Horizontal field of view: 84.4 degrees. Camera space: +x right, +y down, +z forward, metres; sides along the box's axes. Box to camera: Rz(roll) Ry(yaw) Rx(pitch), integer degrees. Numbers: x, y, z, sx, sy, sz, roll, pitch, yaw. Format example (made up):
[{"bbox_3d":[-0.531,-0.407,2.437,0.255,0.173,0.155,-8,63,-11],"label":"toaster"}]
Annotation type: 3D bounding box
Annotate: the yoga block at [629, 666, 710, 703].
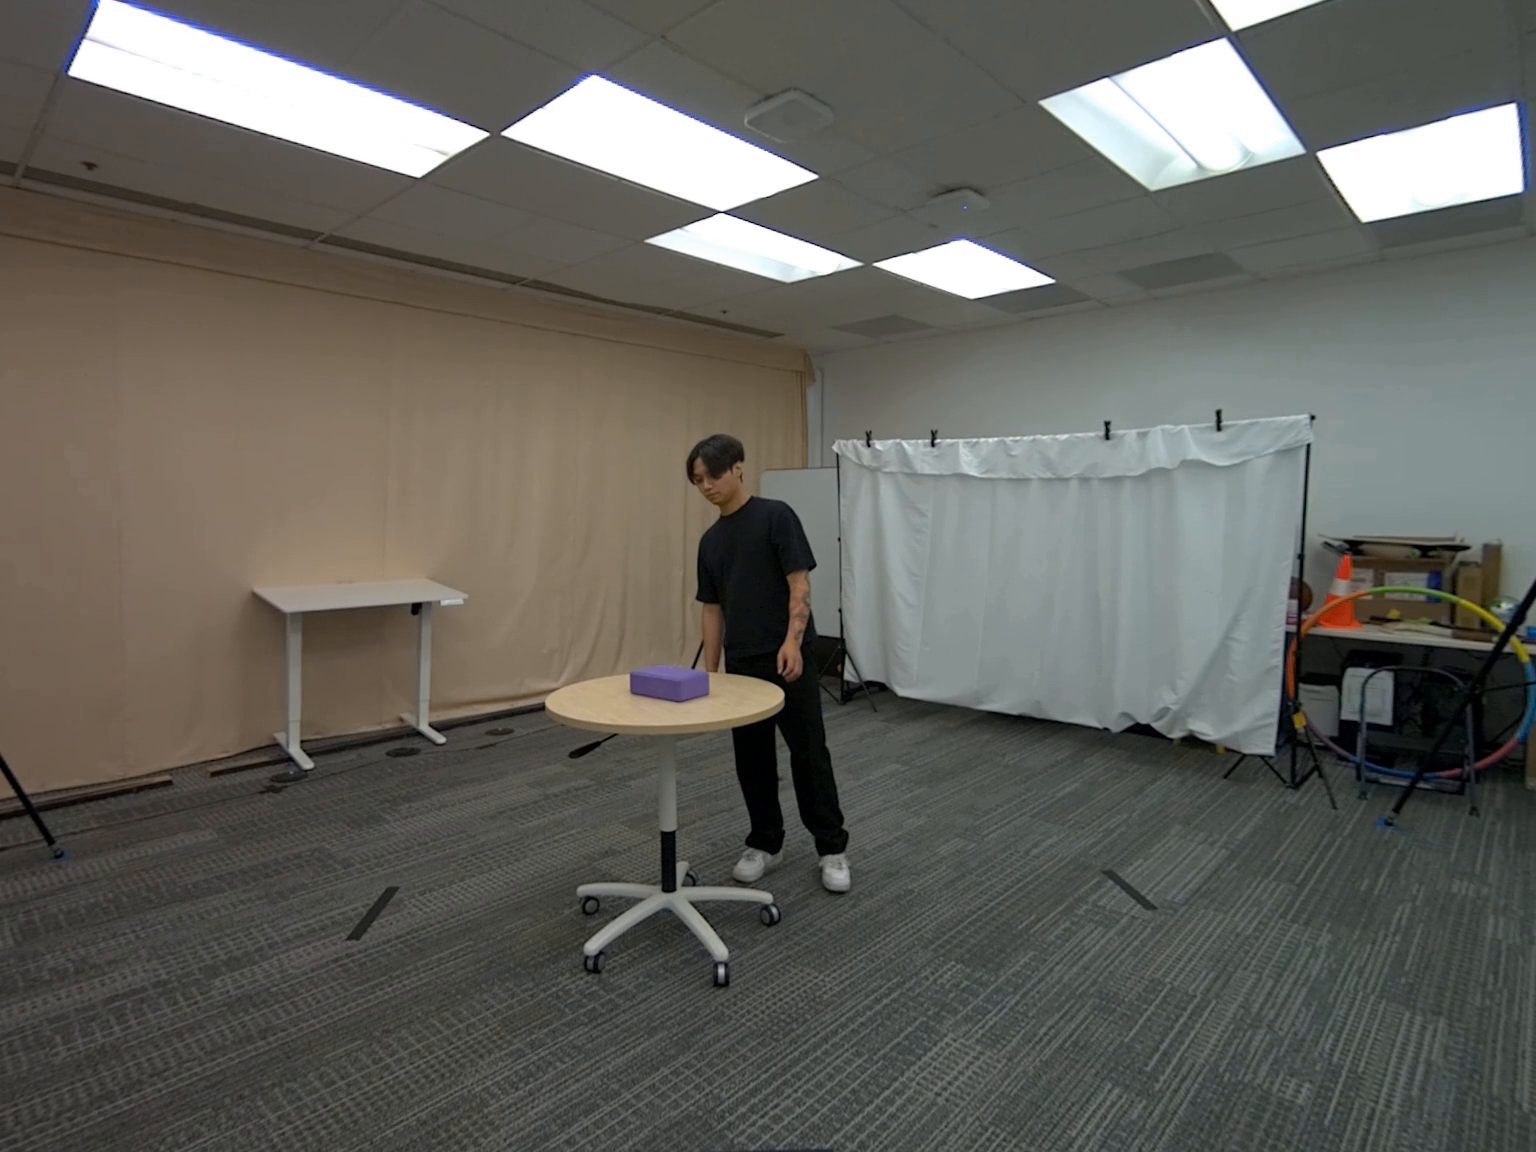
[{"bbox_3d":[-0.317,0.346,2.719,0.237,0.076,0.144,4,7,39],"label":"yoga block"}]
